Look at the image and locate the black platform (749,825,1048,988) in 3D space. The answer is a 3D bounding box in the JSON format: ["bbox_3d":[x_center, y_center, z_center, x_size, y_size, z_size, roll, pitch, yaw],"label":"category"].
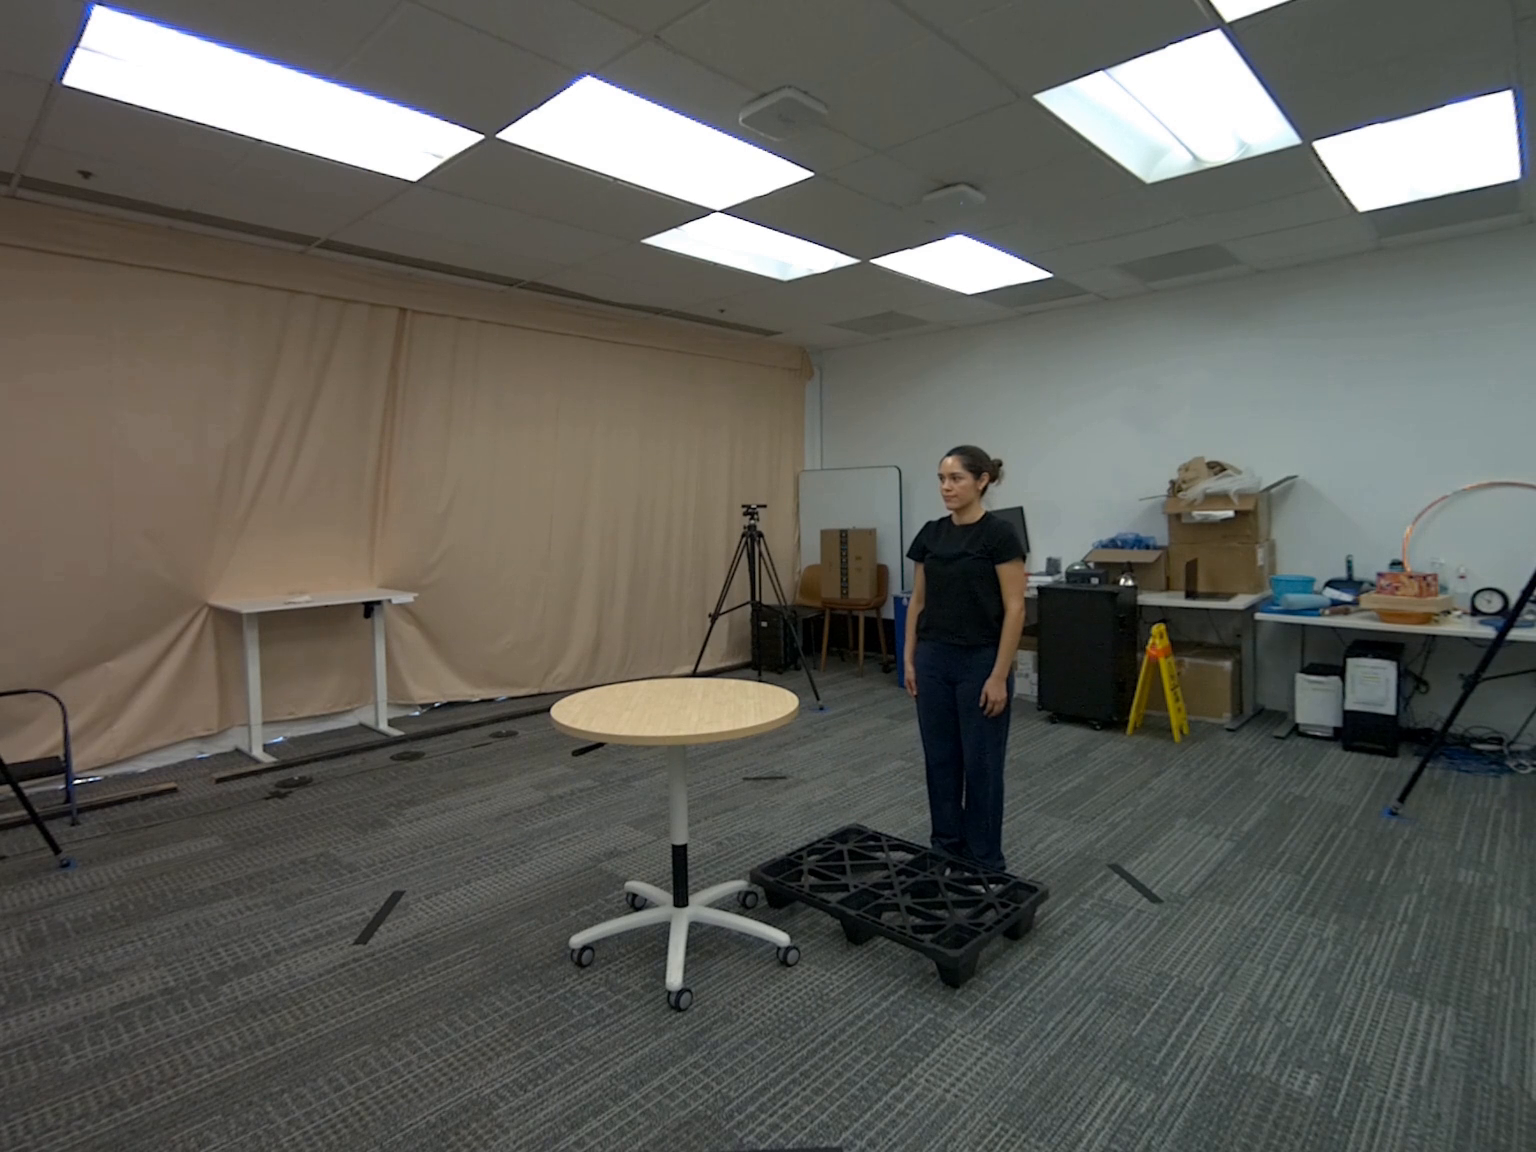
[{"bbox_3d":[0.440,1.081,2.827,0.832,0.143,0.587,4,7,43],"label":"black platform"}]
